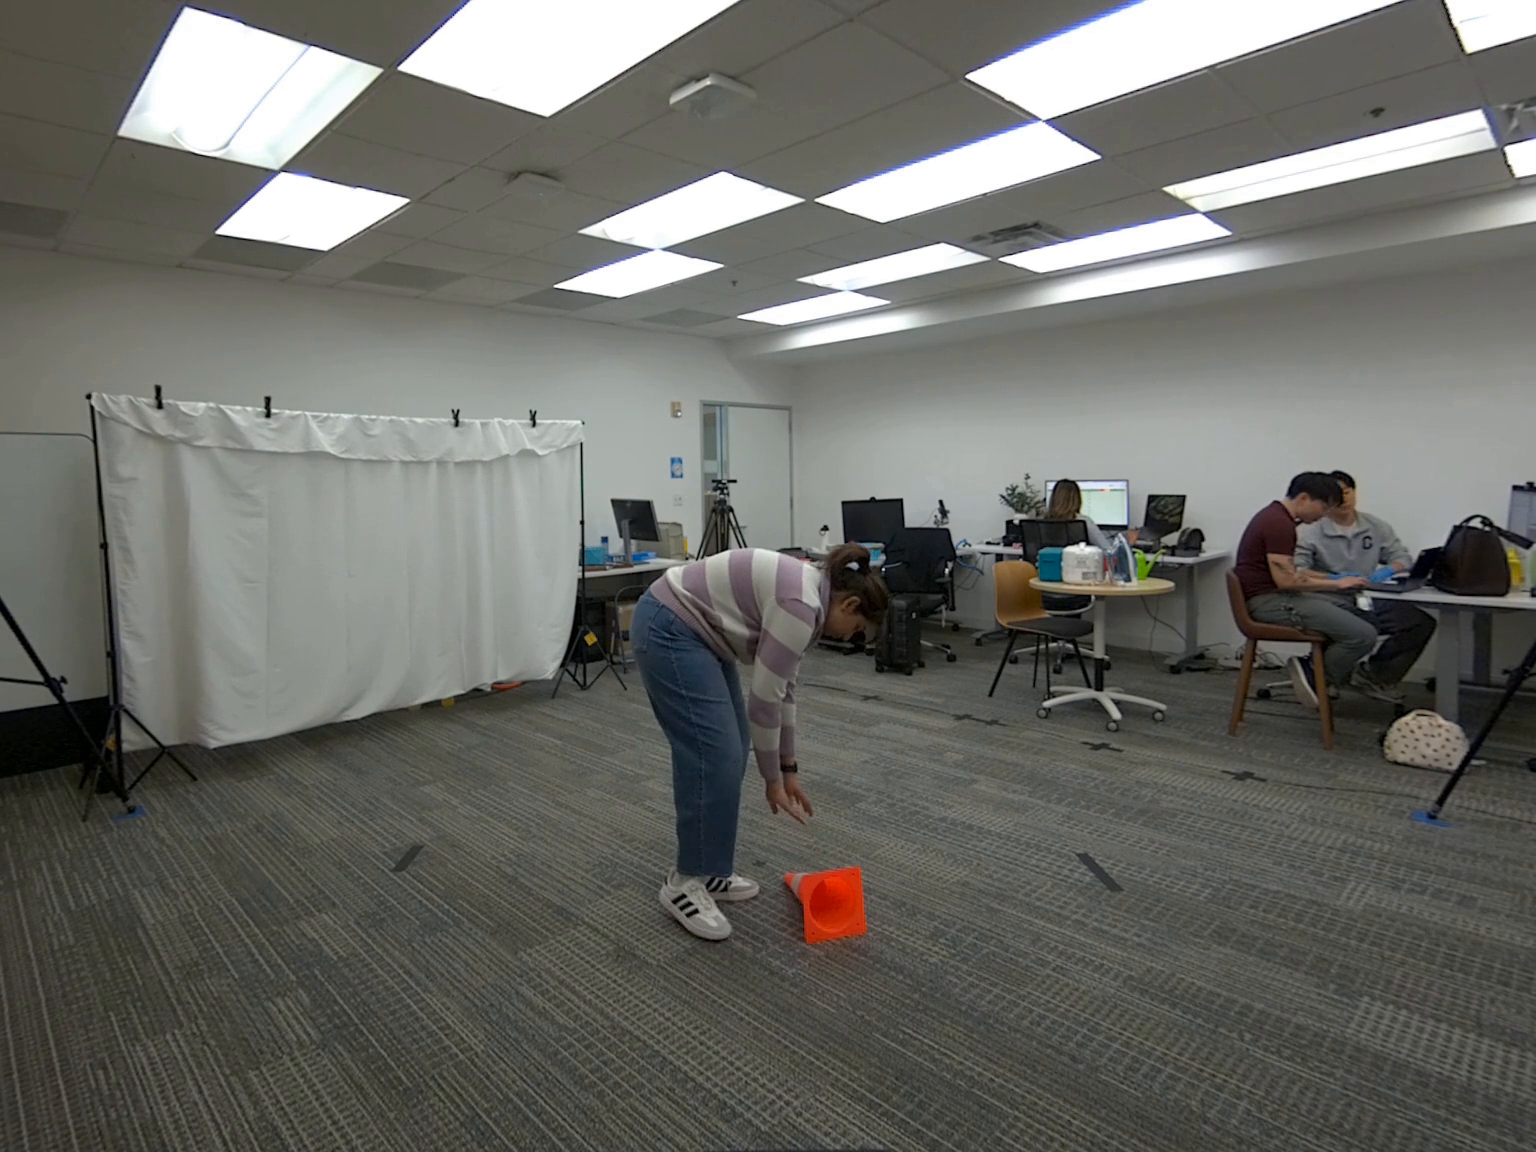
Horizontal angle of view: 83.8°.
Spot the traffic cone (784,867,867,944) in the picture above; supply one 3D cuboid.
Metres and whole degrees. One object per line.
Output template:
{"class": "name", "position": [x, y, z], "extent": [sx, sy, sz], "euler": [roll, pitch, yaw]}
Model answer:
{"class": "traffic cone", "position": [0.135, 1.023, 2.788], "extent": [0.200, 0.206, 0.387], "euler": [-3, -7, -19]}
